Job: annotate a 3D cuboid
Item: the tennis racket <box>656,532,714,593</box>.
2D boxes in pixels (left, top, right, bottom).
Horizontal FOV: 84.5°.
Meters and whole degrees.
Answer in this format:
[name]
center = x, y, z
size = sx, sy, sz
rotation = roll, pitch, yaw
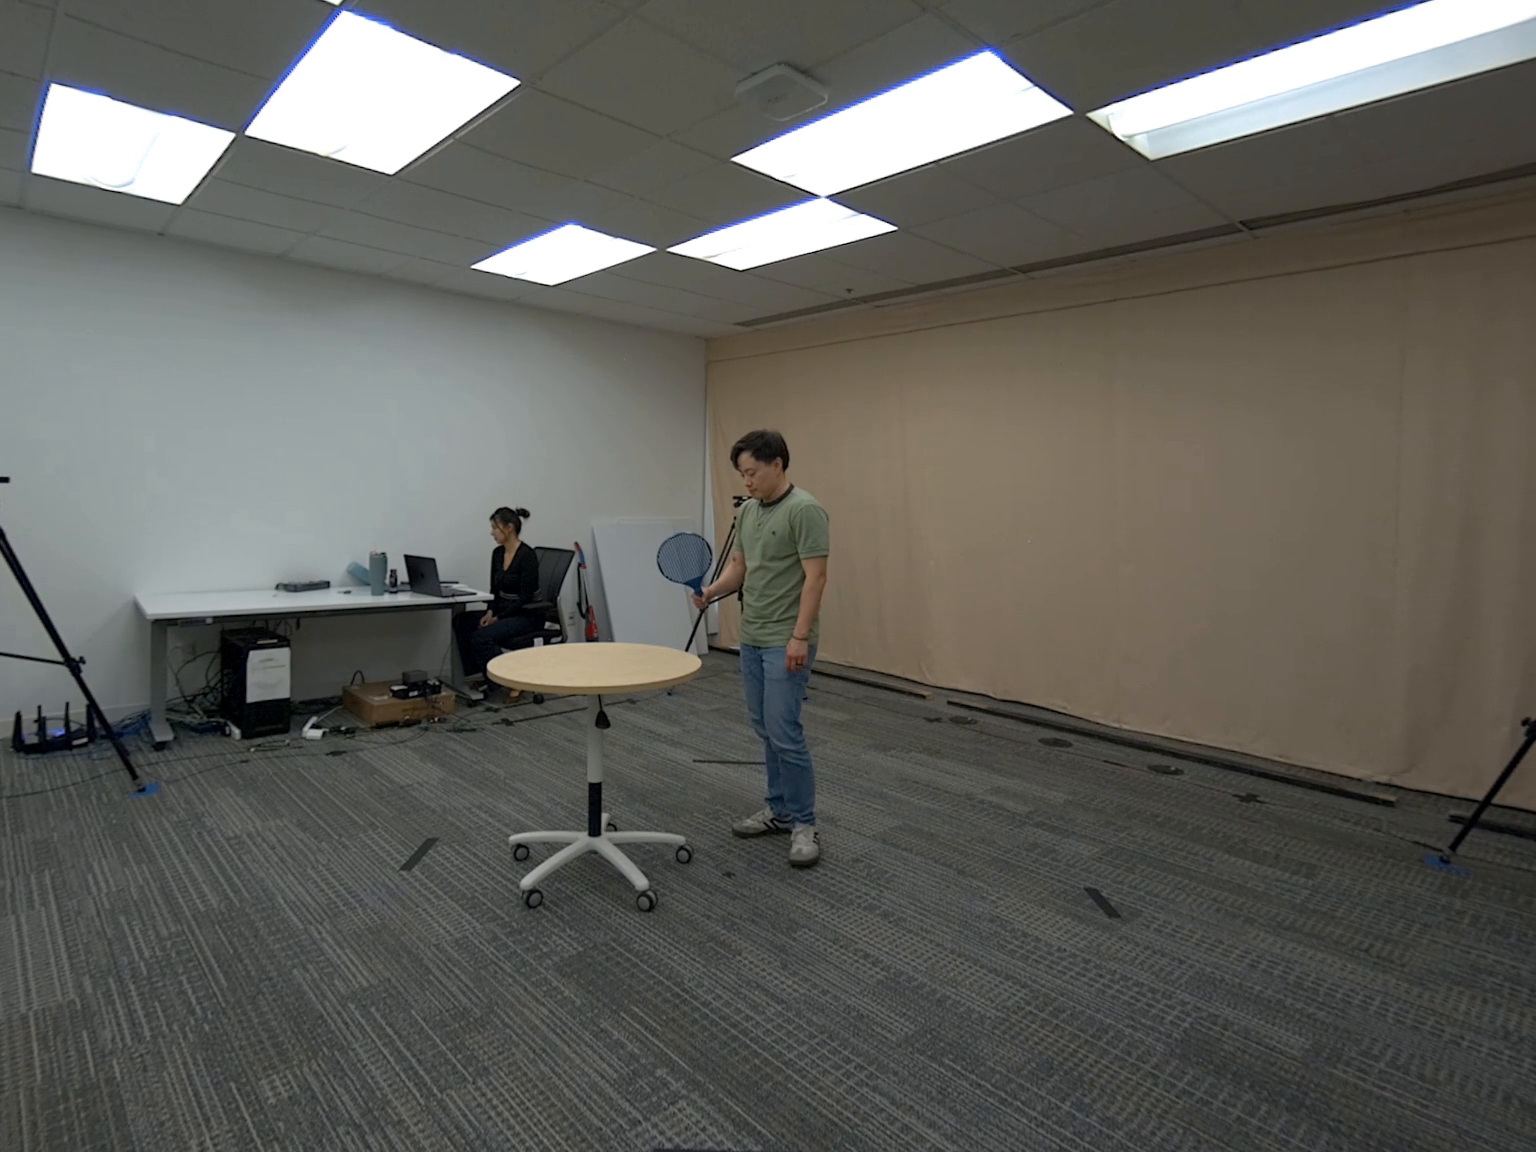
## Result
[tennis racket]
center = -0.308, -0.016, 3.263
size = 0.213, 0.420, 0.033
rotation = -26, 47, -4
